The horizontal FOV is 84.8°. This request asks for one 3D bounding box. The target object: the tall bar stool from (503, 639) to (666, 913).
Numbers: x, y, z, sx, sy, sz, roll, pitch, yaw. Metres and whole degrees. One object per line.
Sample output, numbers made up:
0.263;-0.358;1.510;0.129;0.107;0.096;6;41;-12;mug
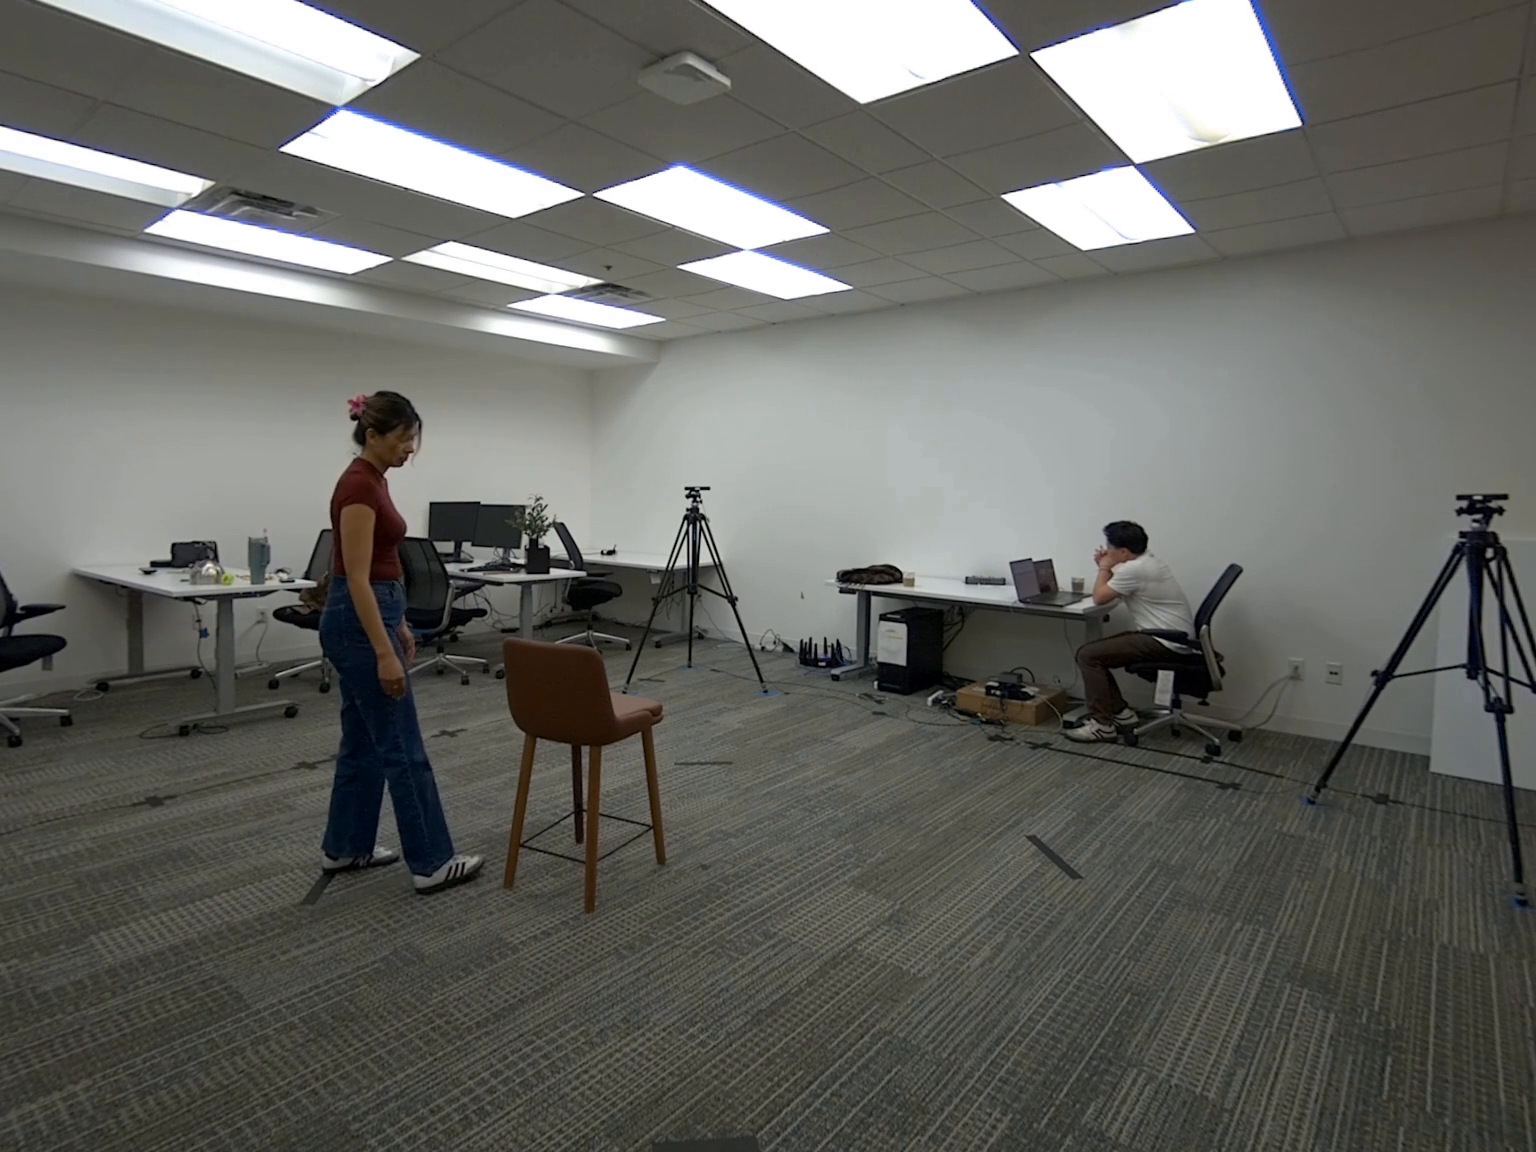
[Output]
-0.665;0.638;3.021;0.469;0.886;0.457;2;5;27;tall bar stool
